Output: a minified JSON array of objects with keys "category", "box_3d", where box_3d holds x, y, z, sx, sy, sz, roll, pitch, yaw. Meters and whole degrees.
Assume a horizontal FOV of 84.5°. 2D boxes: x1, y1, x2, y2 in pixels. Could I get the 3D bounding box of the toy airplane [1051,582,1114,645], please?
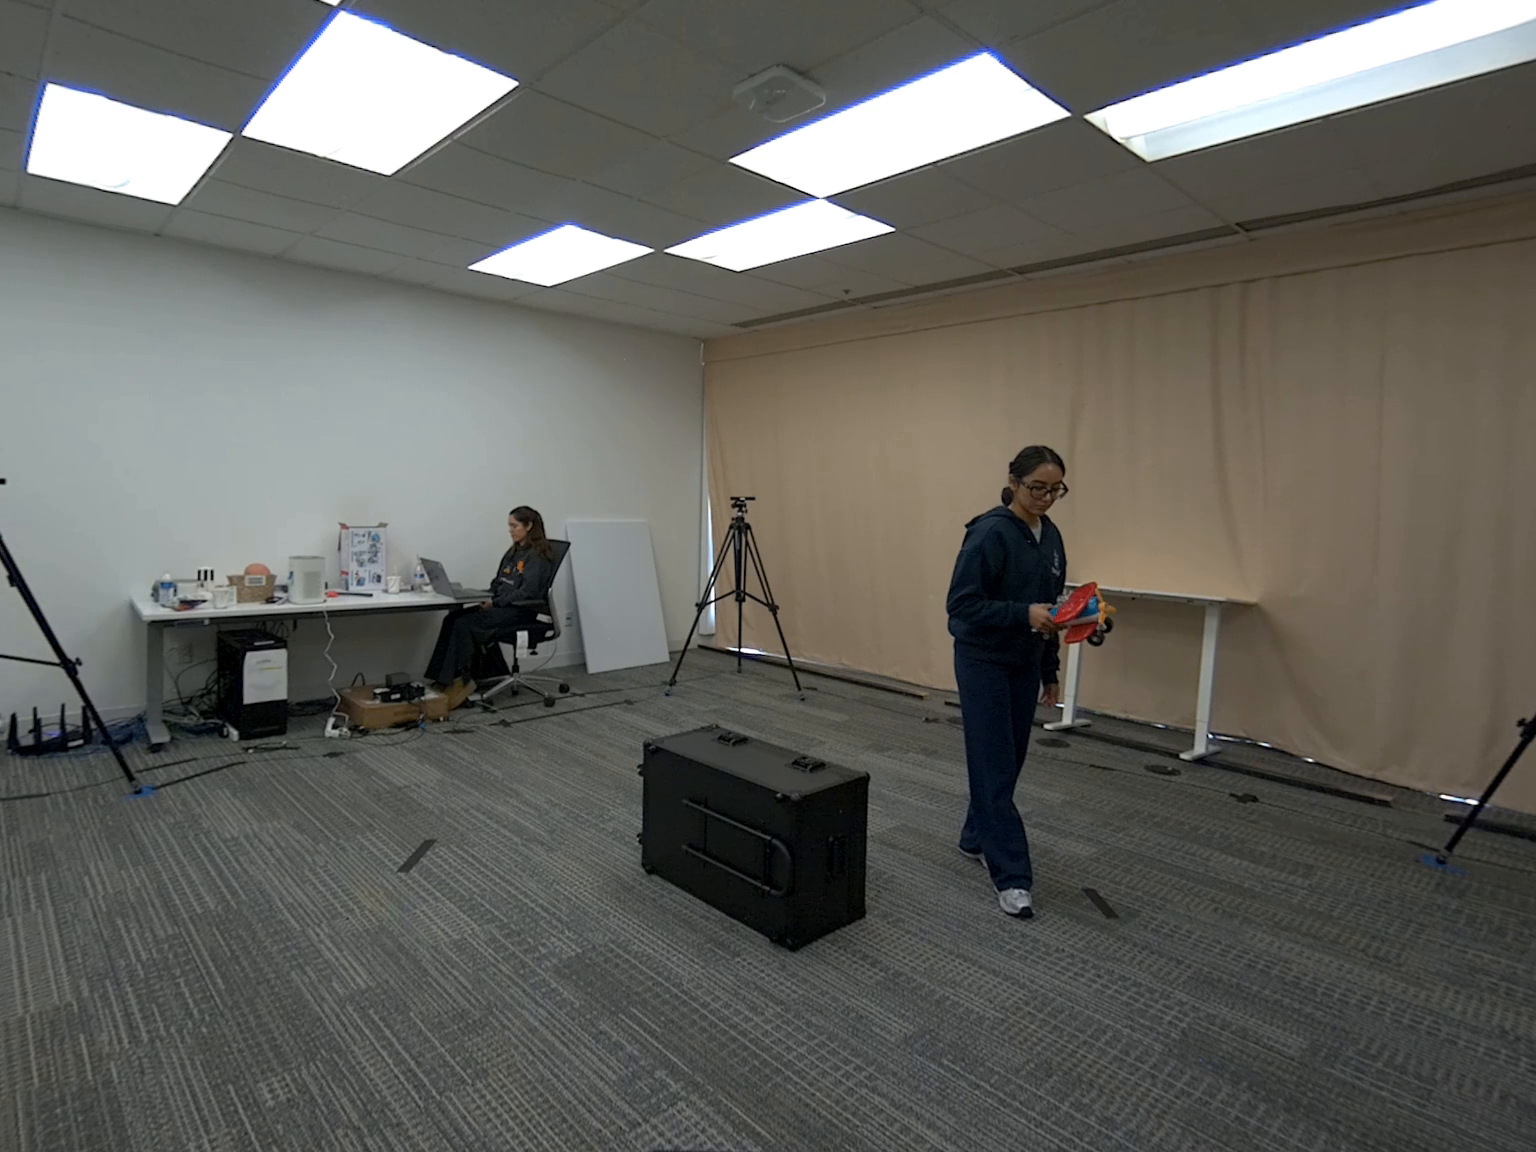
[{"category":"toy airplane","box_3d":[1.005,0.148,2.826,0.262,0.154,0.252,-12,21,19]}]
